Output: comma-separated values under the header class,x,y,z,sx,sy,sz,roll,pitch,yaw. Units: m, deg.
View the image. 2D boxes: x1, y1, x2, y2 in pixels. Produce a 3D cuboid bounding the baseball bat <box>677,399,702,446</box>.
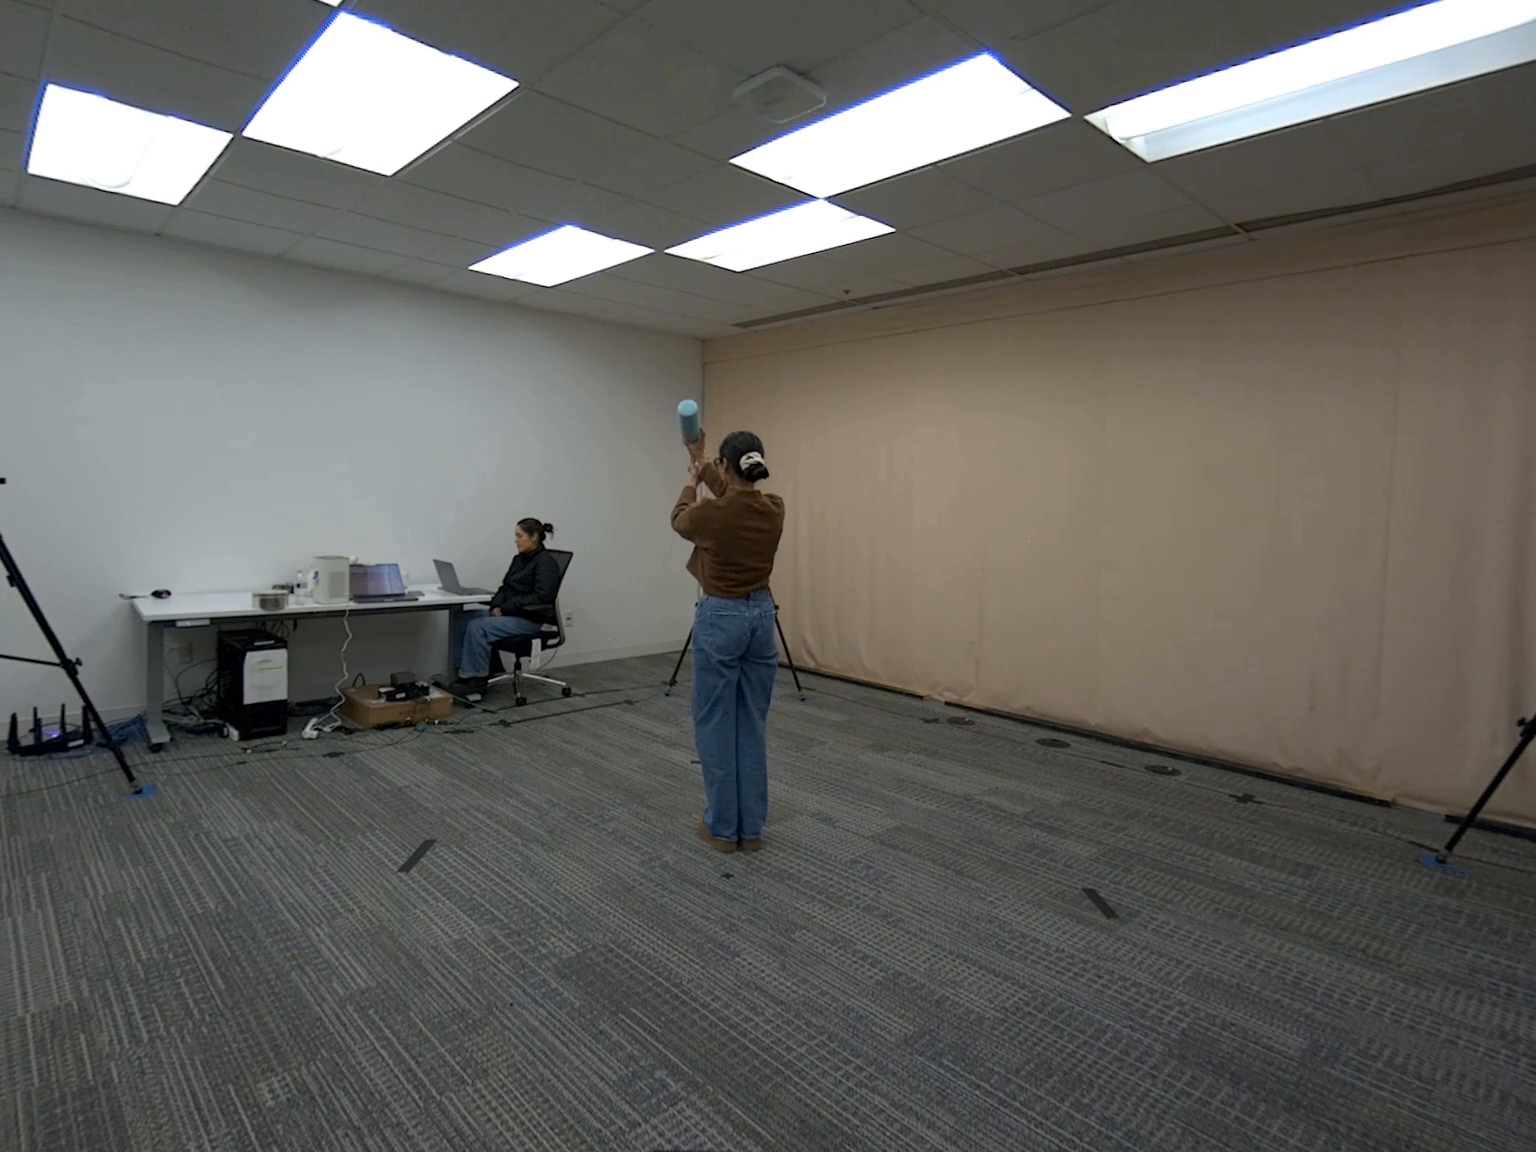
class,x,y,z,sx,sy,sz,roll,pitch,yaw
baseball bat,-0.348,-0.587,3.708,0.089,0.090,0.534,2,-22,-1
